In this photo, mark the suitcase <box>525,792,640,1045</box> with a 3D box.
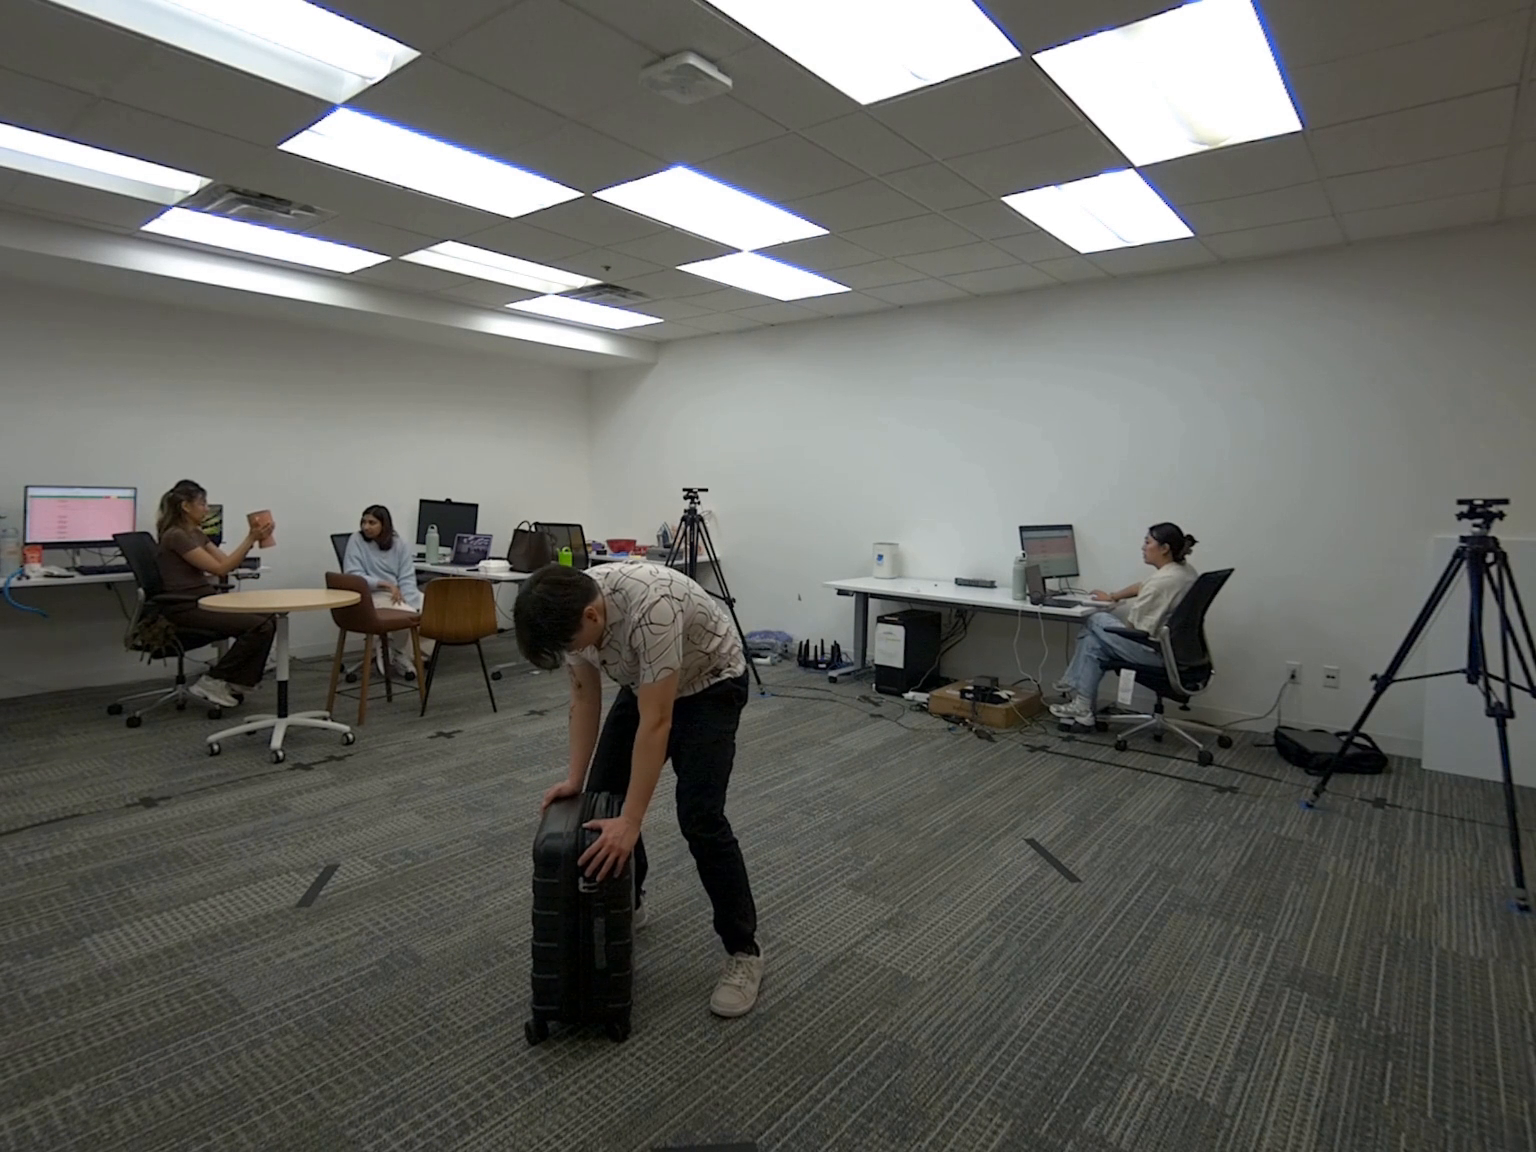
[{"bbox_3d":[-0.497,0.881,2.245,0.247,0.547,0.379,0,5,-6],"label":"suitcase"}]
